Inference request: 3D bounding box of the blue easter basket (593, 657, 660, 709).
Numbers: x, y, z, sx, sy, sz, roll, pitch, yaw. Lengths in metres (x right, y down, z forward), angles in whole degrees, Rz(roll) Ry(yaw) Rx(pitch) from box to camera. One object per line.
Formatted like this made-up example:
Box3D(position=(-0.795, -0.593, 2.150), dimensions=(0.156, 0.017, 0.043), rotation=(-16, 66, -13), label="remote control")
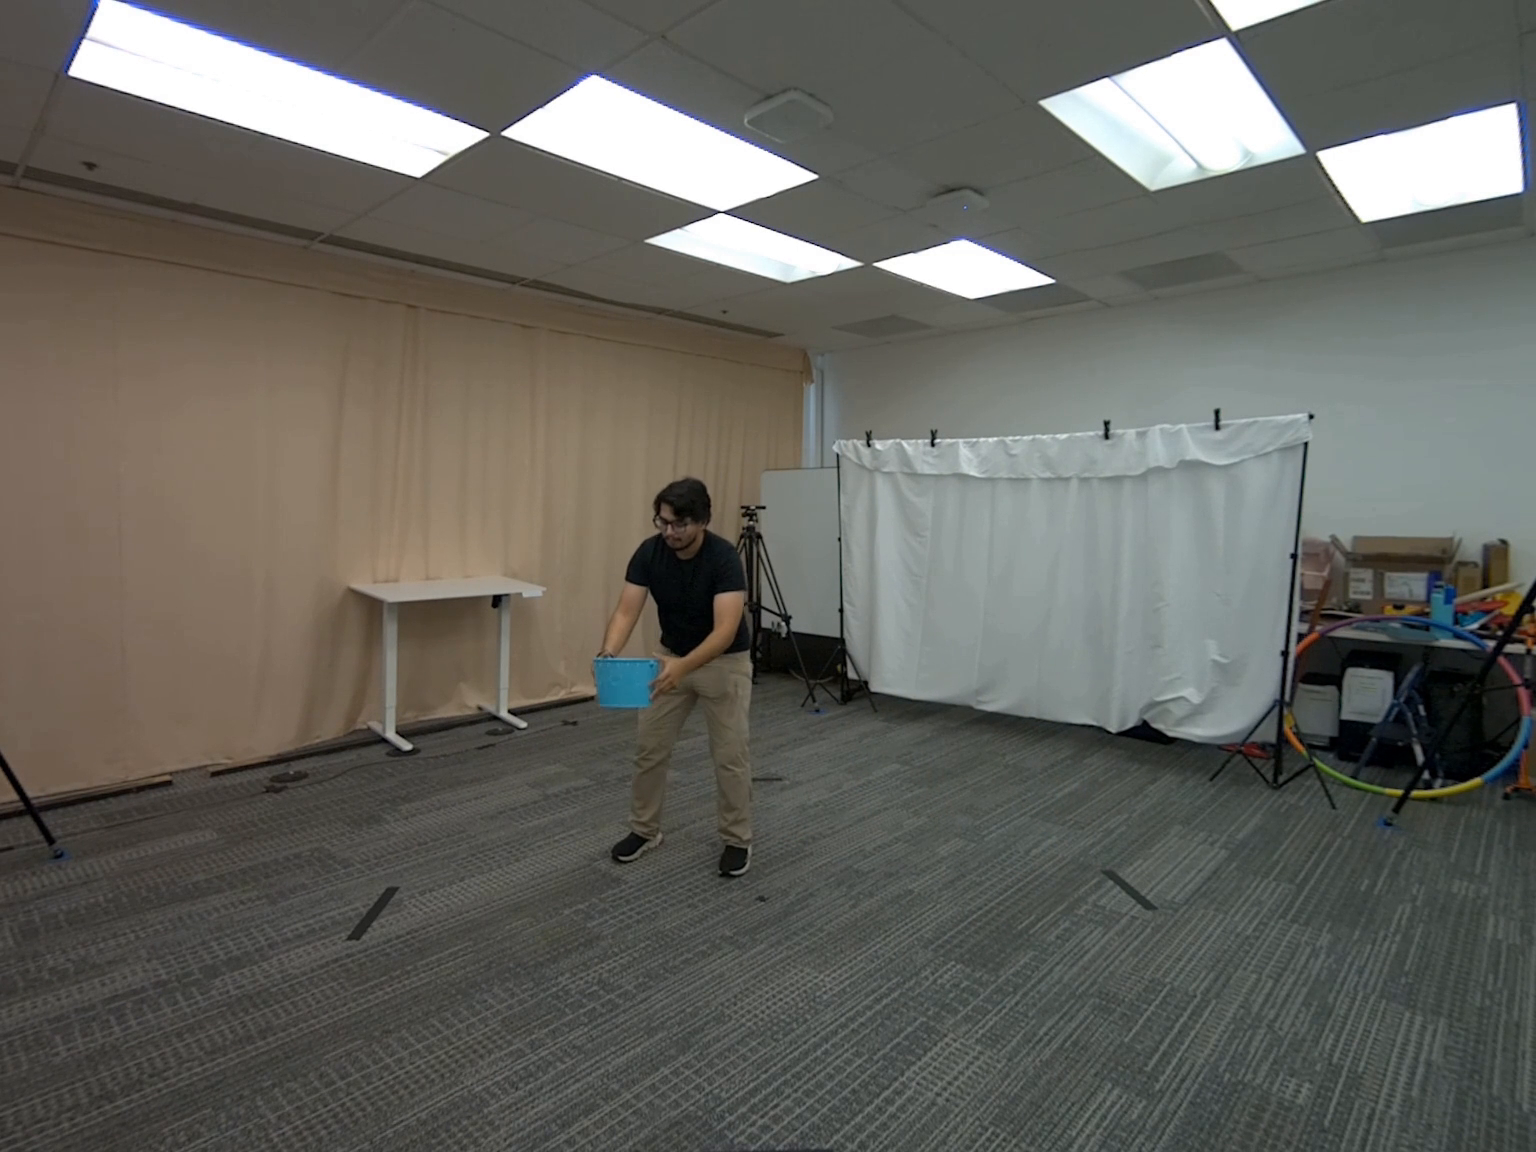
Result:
Box3D(position=(-0.476, 0.358, 2.814), dimensions=(0.243, 0.156, 0.243), rotation=(1, -3, -2), label="blue easter basket")
